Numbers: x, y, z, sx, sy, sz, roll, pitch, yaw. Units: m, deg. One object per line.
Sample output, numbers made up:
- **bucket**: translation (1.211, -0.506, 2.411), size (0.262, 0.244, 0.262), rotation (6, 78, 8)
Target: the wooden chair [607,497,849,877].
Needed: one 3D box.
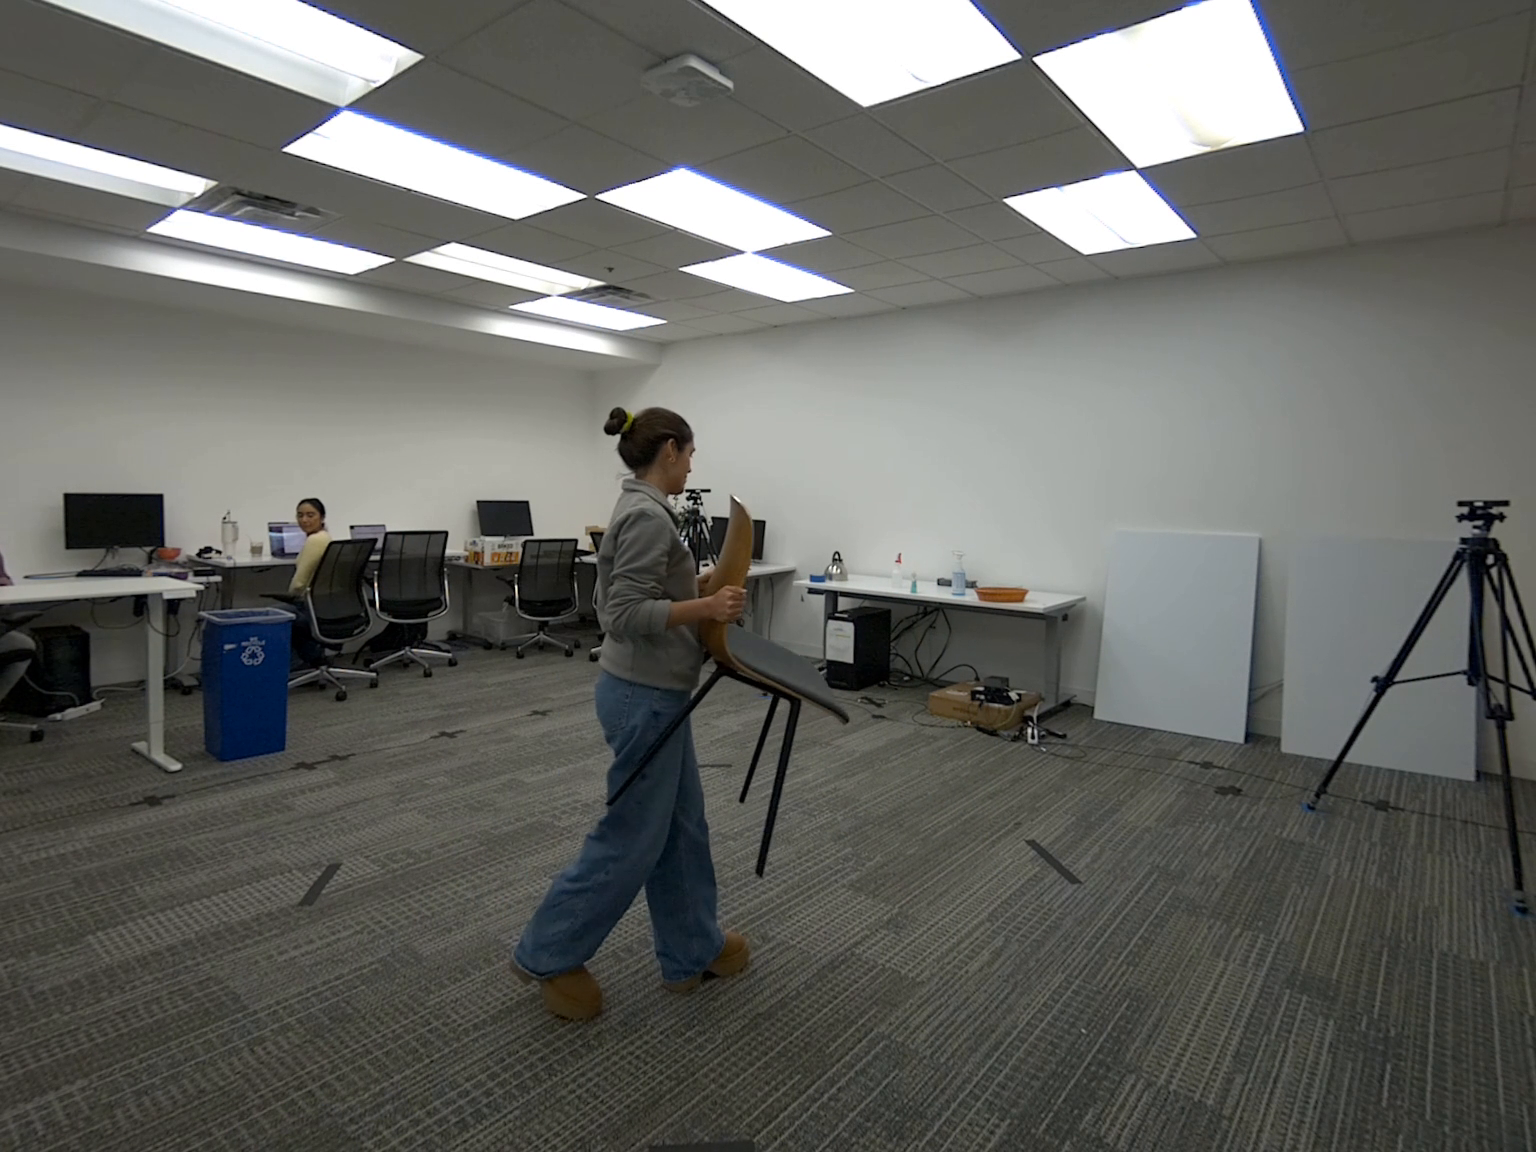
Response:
- **wooden chair**: translation (-0.041, 0.276, 2.358), size (0.518, 0.875, 0.484), rotation (23, 4, -8)
